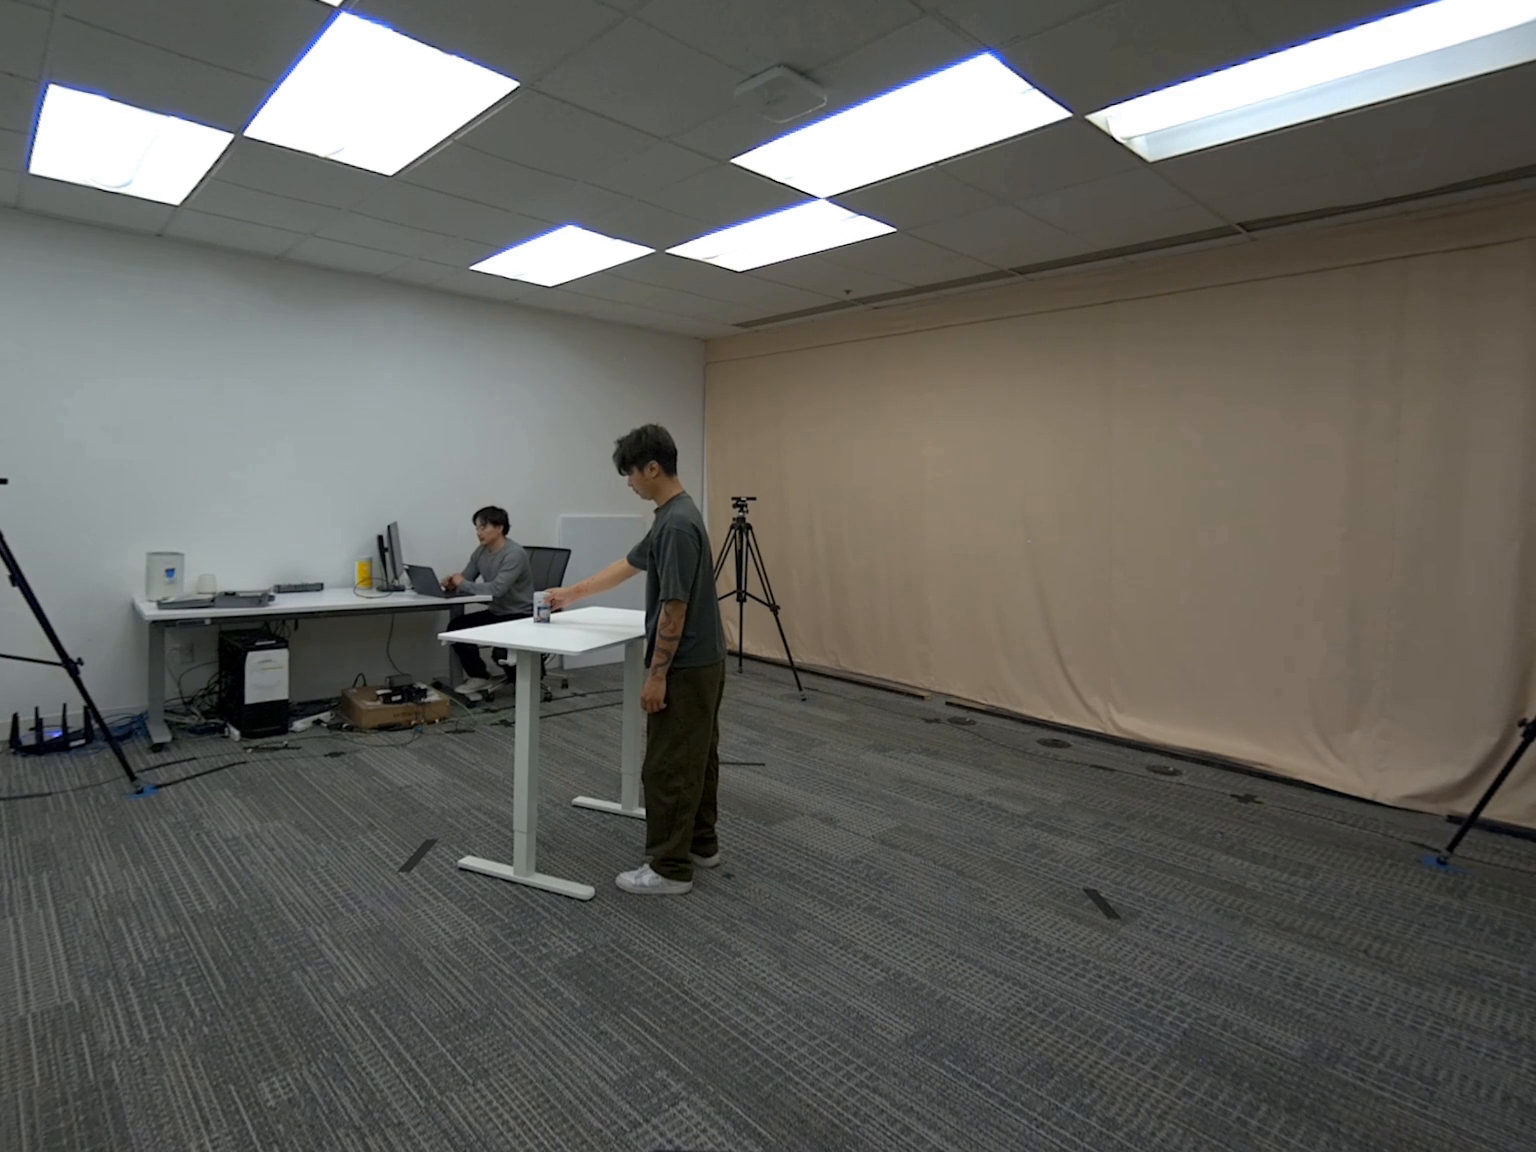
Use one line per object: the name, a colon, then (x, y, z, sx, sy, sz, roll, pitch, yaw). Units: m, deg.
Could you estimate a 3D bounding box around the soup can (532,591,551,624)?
soup can: (-0.903, 0.125, 3.349, 0.067, 0.121, 0.067, -2, 2, -1)
